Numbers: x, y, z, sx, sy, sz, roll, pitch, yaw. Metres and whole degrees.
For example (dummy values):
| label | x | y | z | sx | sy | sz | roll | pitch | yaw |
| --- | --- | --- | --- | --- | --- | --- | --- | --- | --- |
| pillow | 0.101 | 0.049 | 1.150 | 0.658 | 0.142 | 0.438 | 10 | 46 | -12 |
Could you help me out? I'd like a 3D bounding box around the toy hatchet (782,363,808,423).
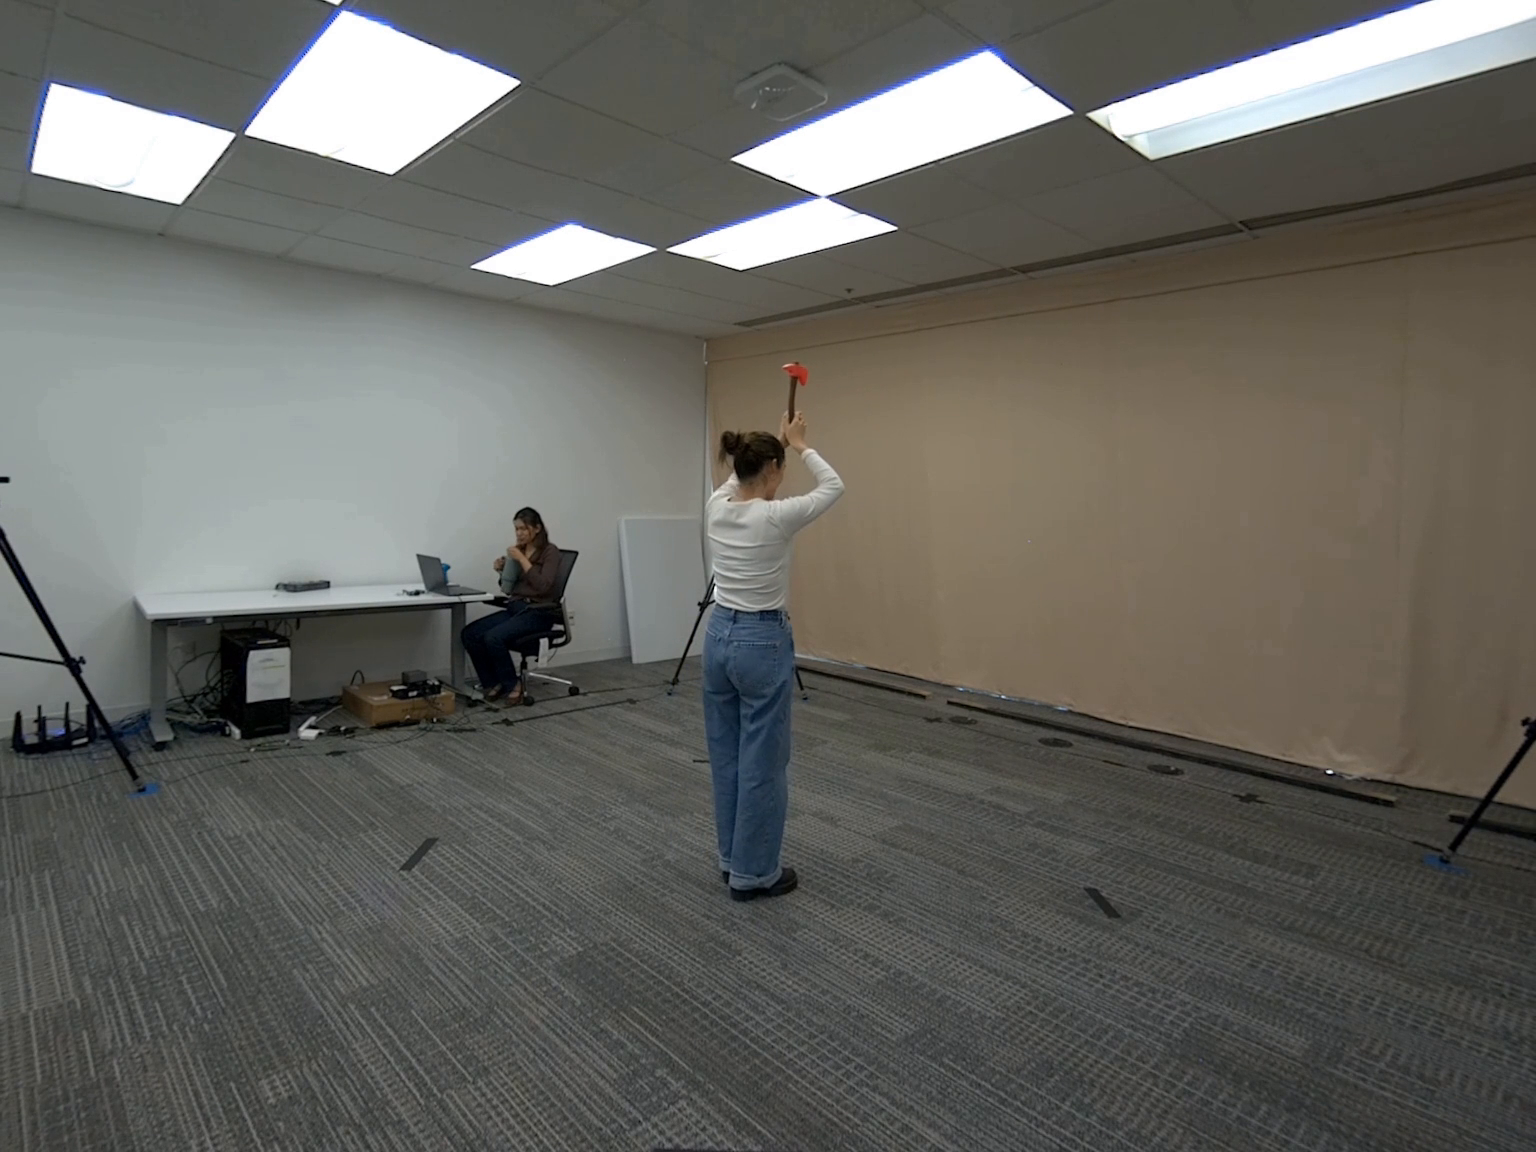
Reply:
| label | x | y | z | sx | sy | sz | roll | pitch | yaw |
| --- | --- | --- | --- | --- | --- | --- | --- | --- | --- |
| toy hatchet | 0.101 | -0.654 | 3.089 | 0.030 | 0.266 | 0.129 | 13 | 28 | 41 |
